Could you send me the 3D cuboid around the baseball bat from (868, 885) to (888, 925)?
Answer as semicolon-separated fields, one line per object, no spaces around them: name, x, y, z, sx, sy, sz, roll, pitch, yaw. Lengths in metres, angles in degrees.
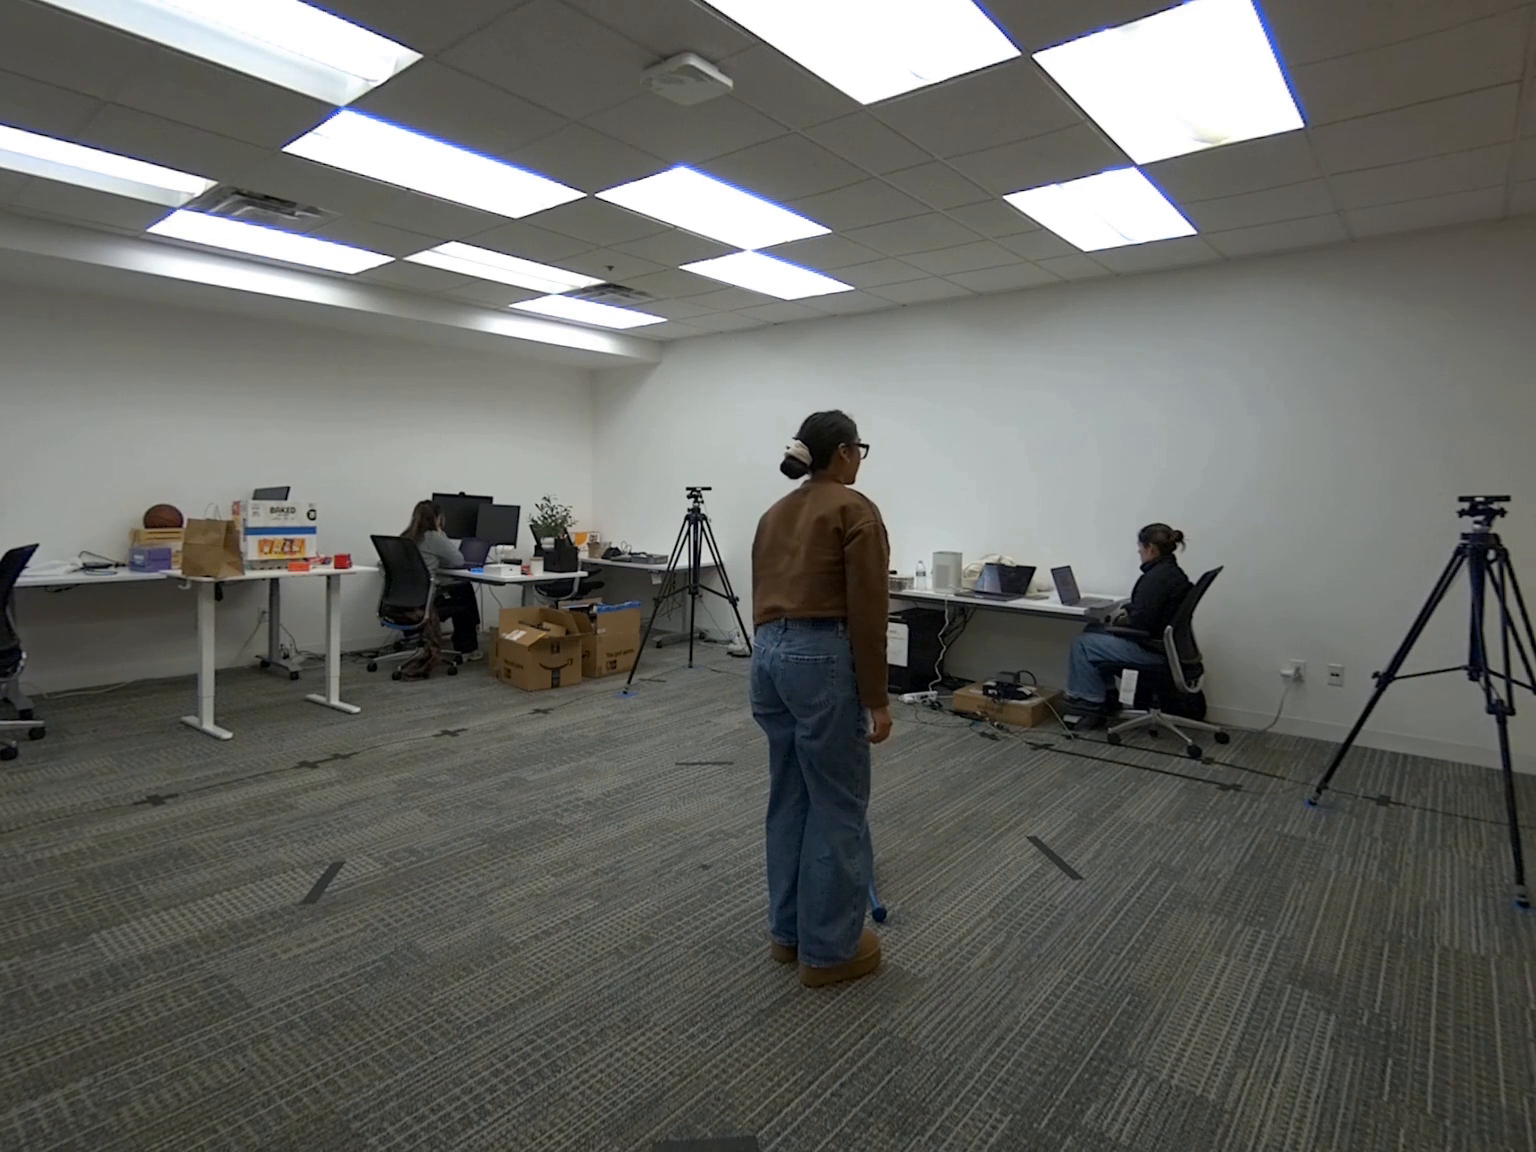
baseball bat;0.334;1.047;3.007;0.088;0.088;0.549;0;8;-6
